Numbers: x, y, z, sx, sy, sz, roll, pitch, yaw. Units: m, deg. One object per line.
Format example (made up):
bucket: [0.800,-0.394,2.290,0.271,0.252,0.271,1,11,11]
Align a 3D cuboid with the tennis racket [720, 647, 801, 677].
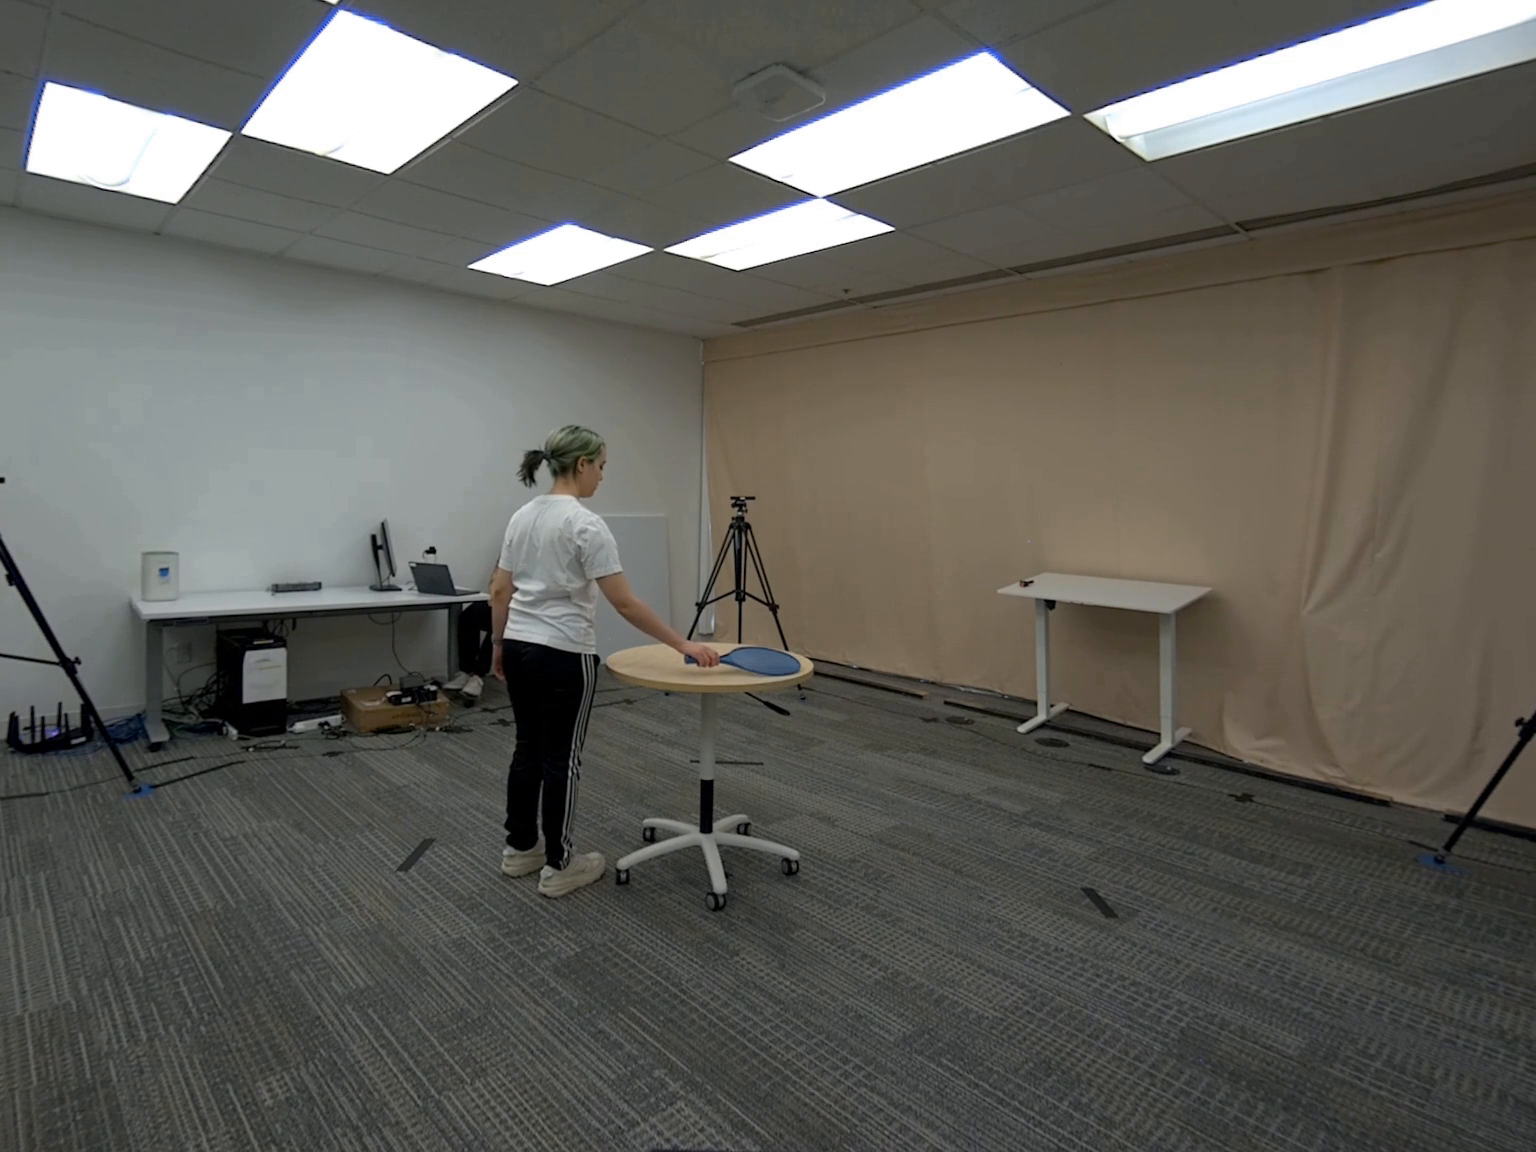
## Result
tennis racket: [-0.096,0.294,2.955,0.426,0.031,0.219,3,19,-20]
